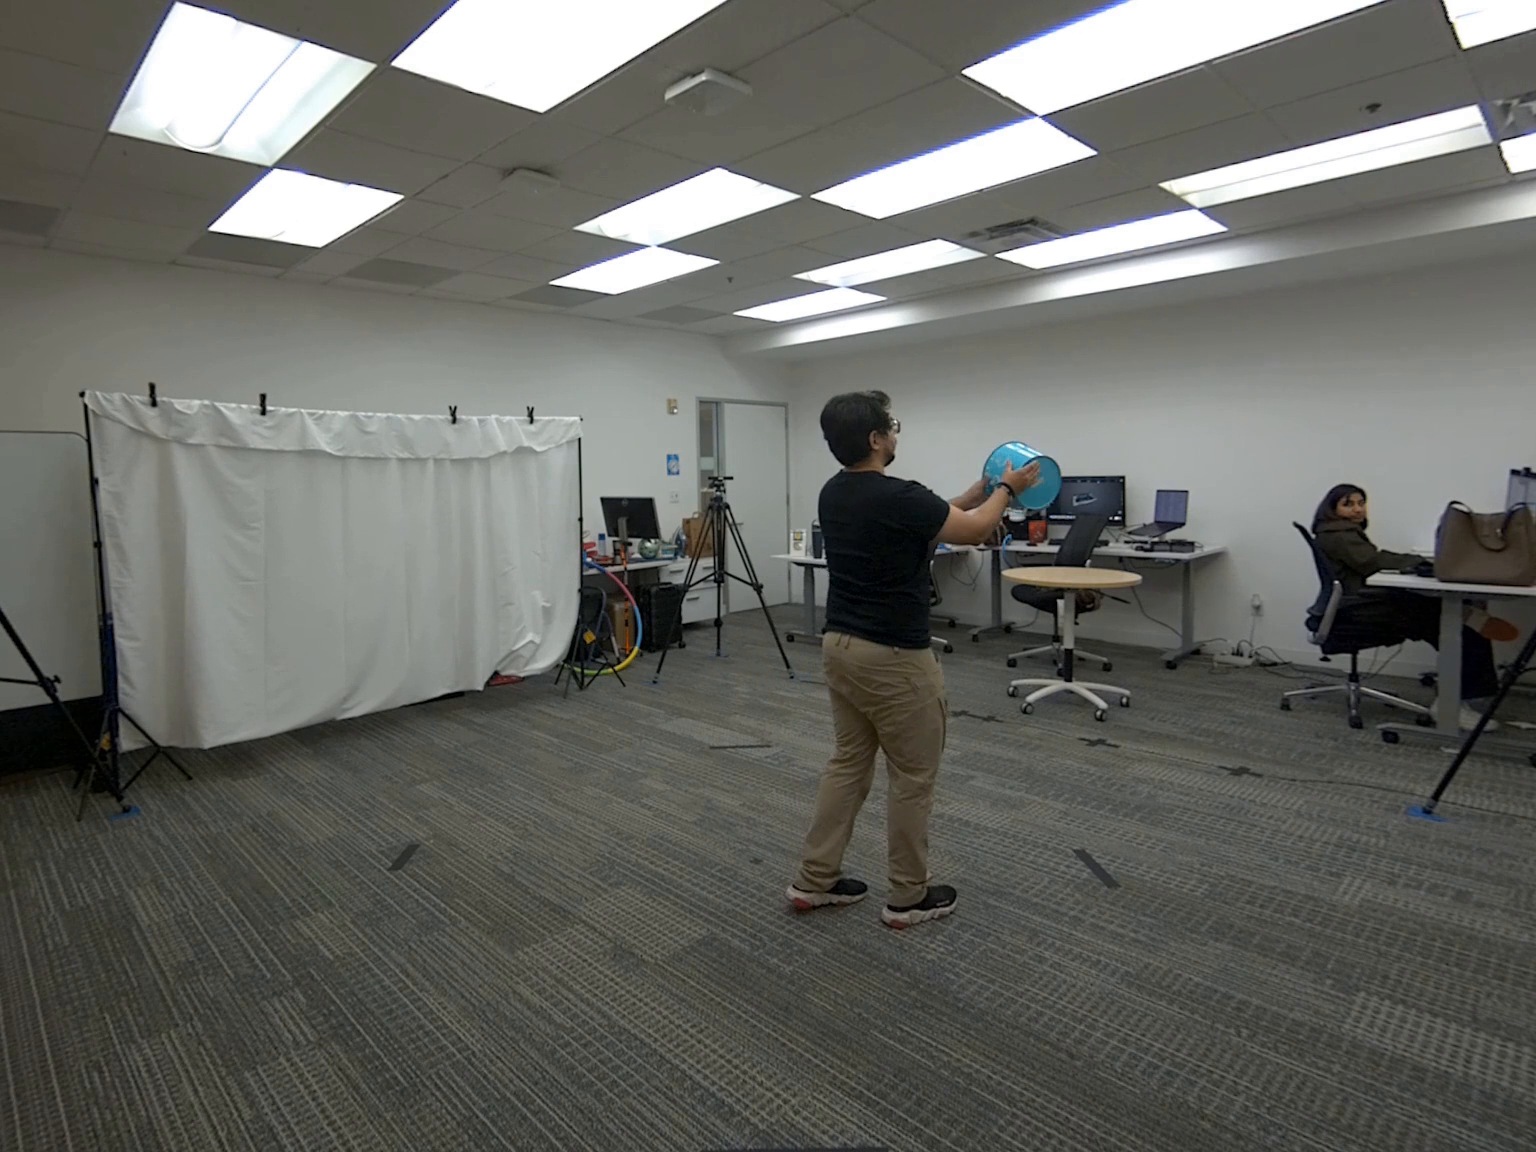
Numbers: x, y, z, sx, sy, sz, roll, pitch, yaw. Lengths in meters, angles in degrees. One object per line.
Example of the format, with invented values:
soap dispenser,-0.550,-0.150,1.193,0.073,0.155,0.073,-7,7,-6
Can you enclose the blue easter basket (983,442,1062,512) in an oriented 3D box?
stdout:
blue easter basket,0.875,-0.326,2.906,0.240,0.241,0.160,-3,15,-17
